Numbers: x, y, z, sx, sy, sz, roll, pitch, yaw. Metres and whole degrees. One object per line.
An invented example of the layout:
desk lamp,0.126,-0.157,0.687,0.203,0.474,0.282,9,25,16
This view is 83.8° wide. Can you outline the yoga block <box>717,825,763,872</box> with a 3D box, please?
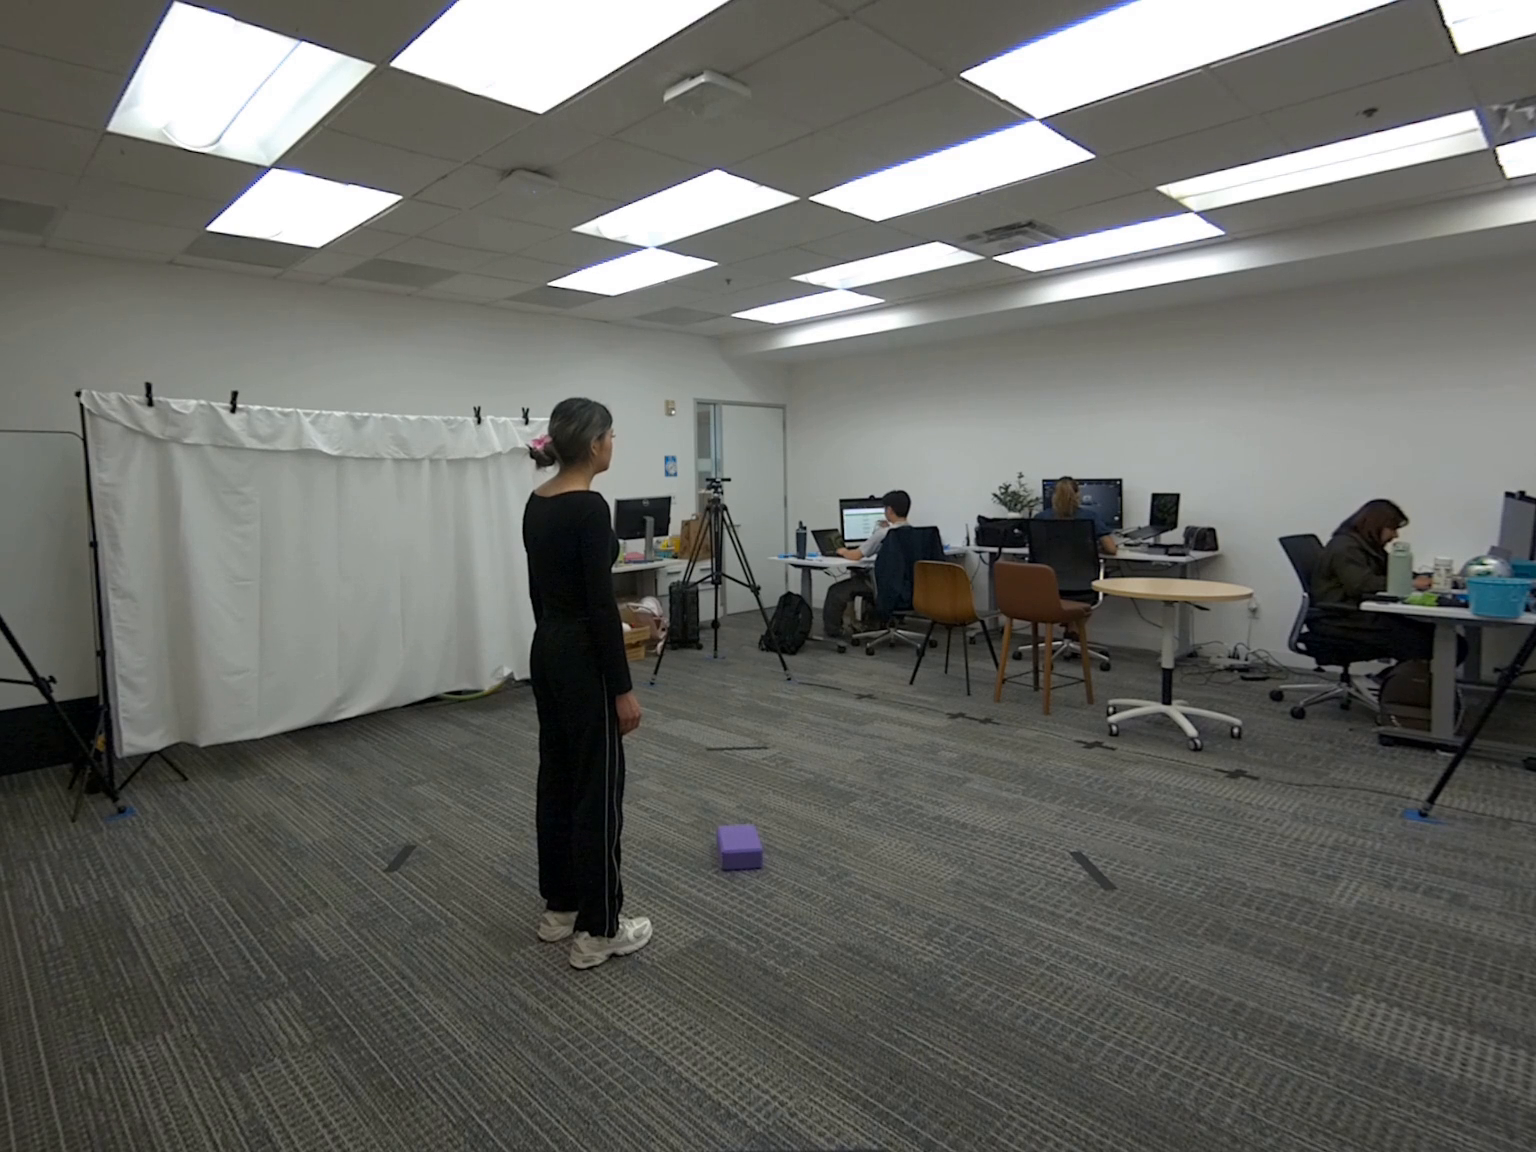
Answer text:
yoga block,-0.103,0.998,3.155,0.148,0.076,0.232,-1,6,-7
